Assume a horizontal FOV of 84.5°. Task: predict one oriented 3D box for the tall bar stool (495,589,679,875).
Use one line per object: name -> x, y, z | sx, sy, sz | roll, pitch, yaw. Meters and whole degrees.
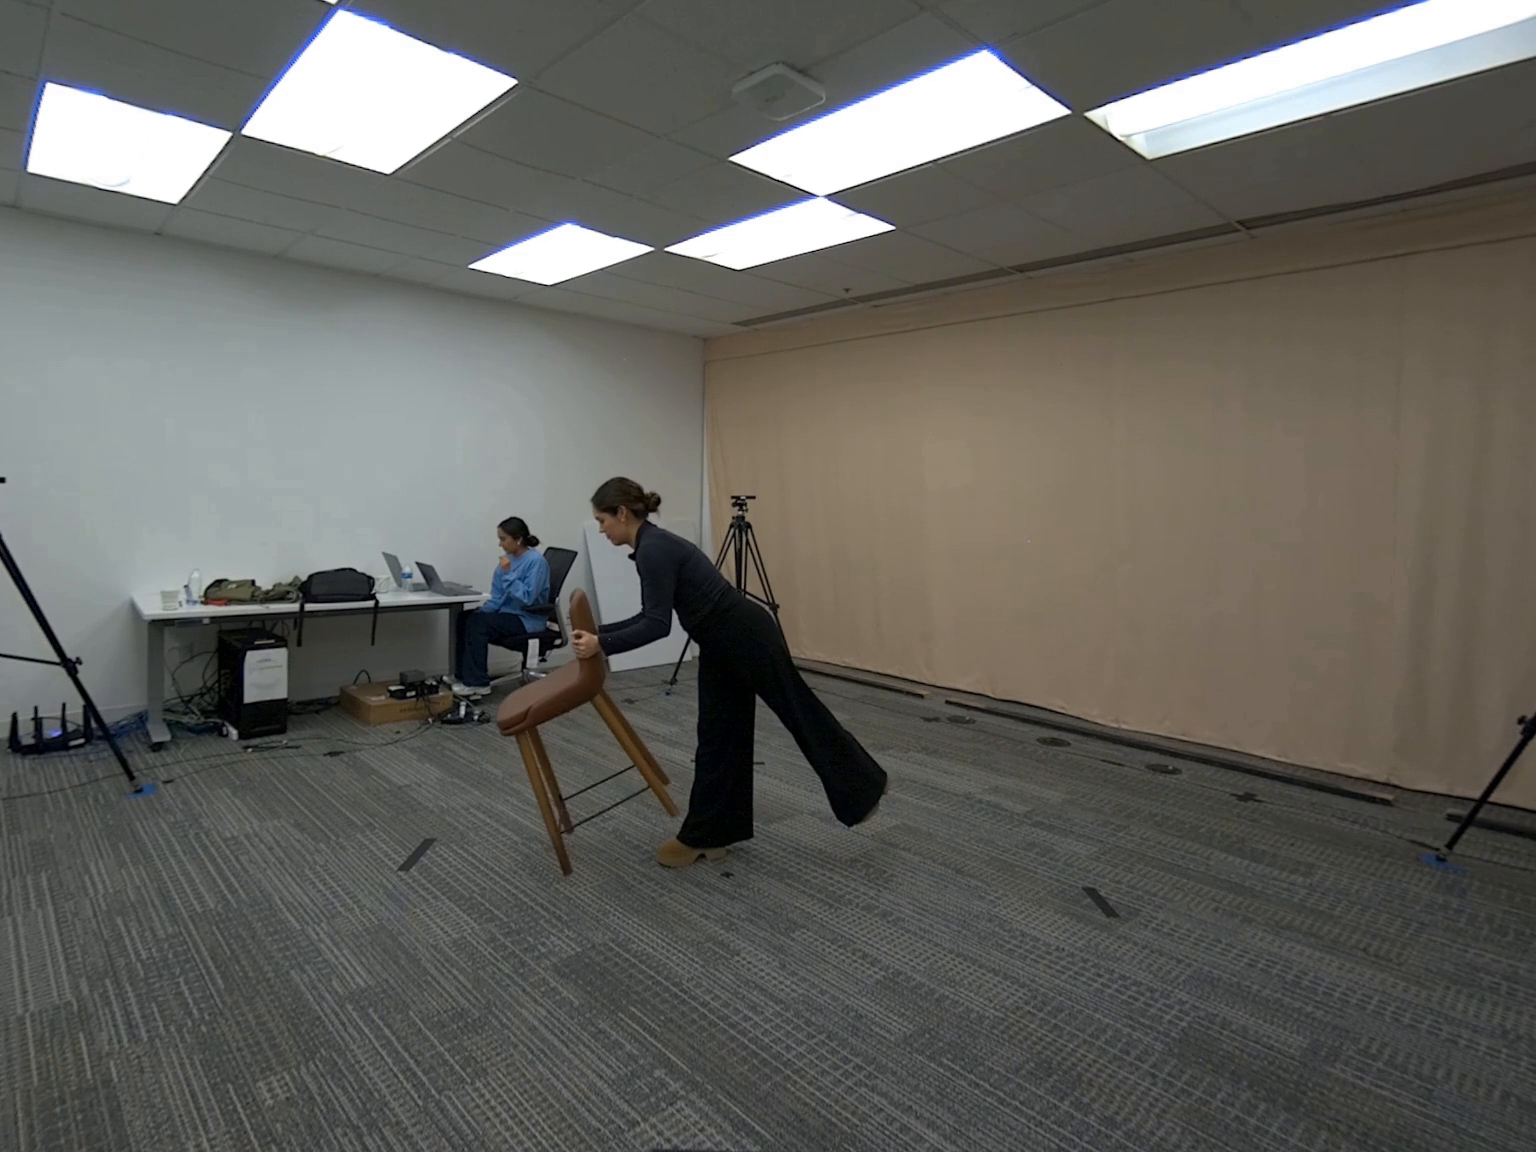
tall bar stool -> -0.727, 0.549, 3.126 | 0.466, 0.884, 0.461 | -24, 7, -9
